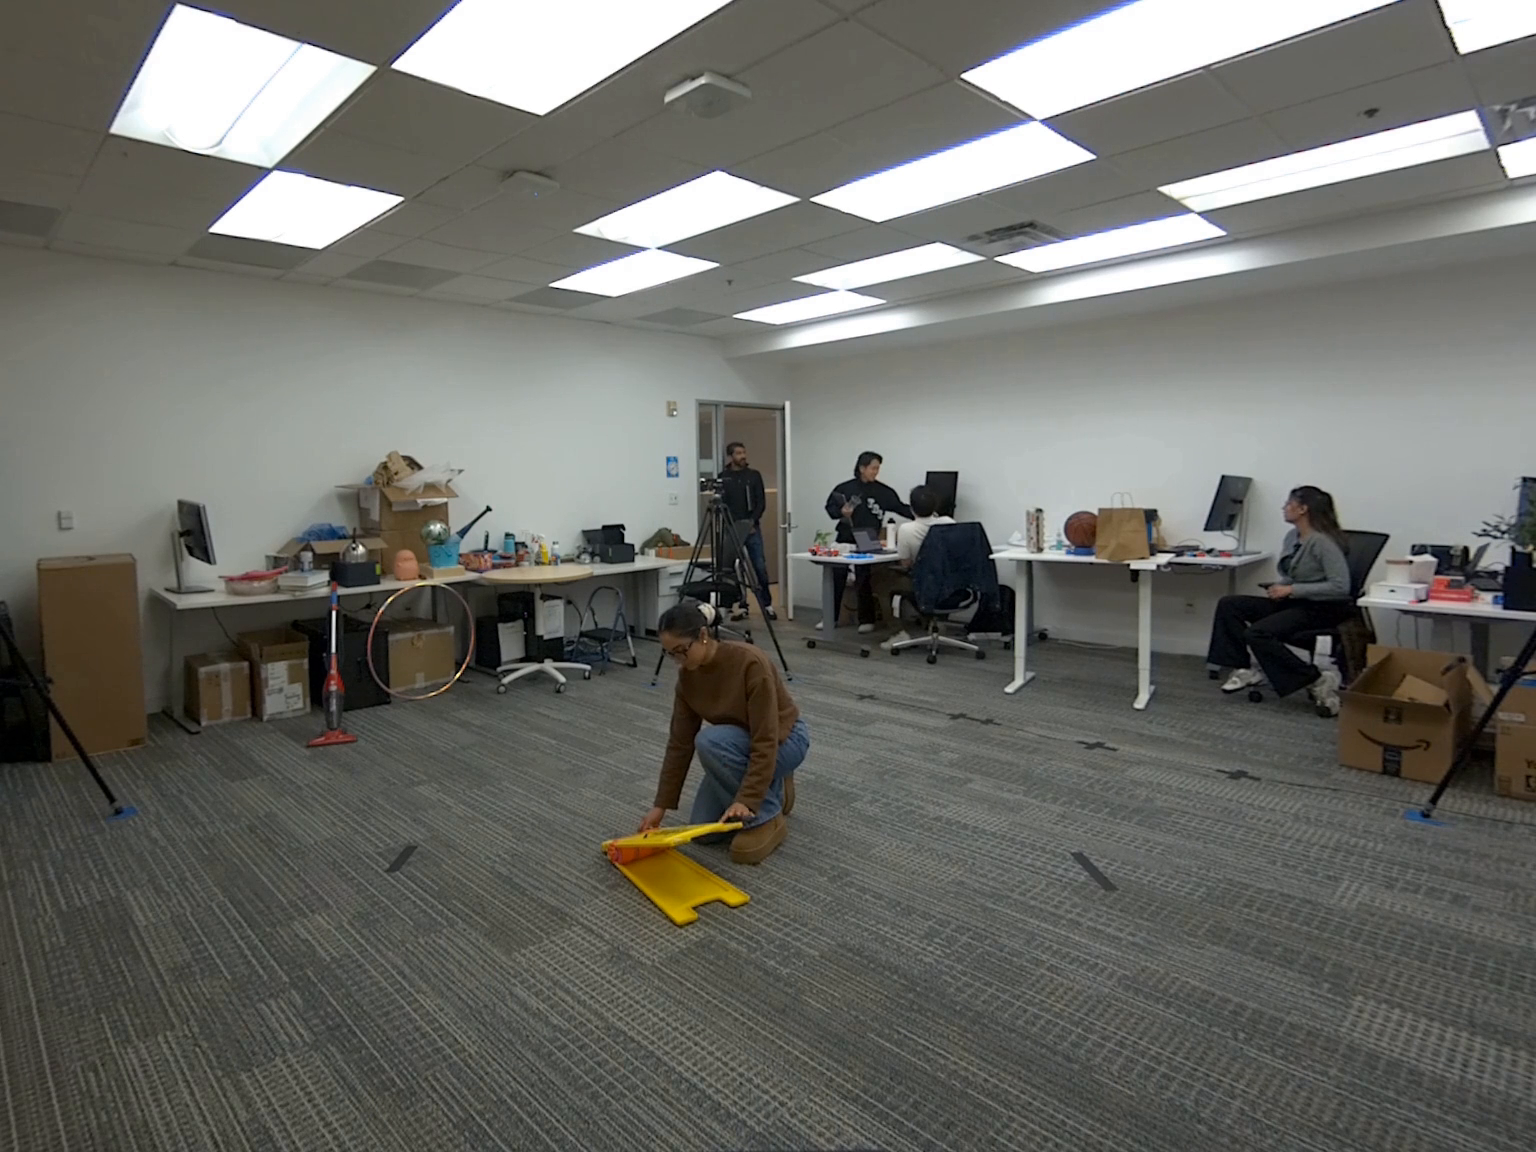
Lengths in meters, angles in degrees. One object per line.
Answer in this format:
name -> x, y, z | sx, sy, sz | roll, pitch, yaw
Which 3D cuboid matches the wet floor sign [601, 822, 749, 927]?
wet floor sign -> -0.365, 0.986, 3.015 | 0.275, 0.291, 0.659 | -2, -5, -34
